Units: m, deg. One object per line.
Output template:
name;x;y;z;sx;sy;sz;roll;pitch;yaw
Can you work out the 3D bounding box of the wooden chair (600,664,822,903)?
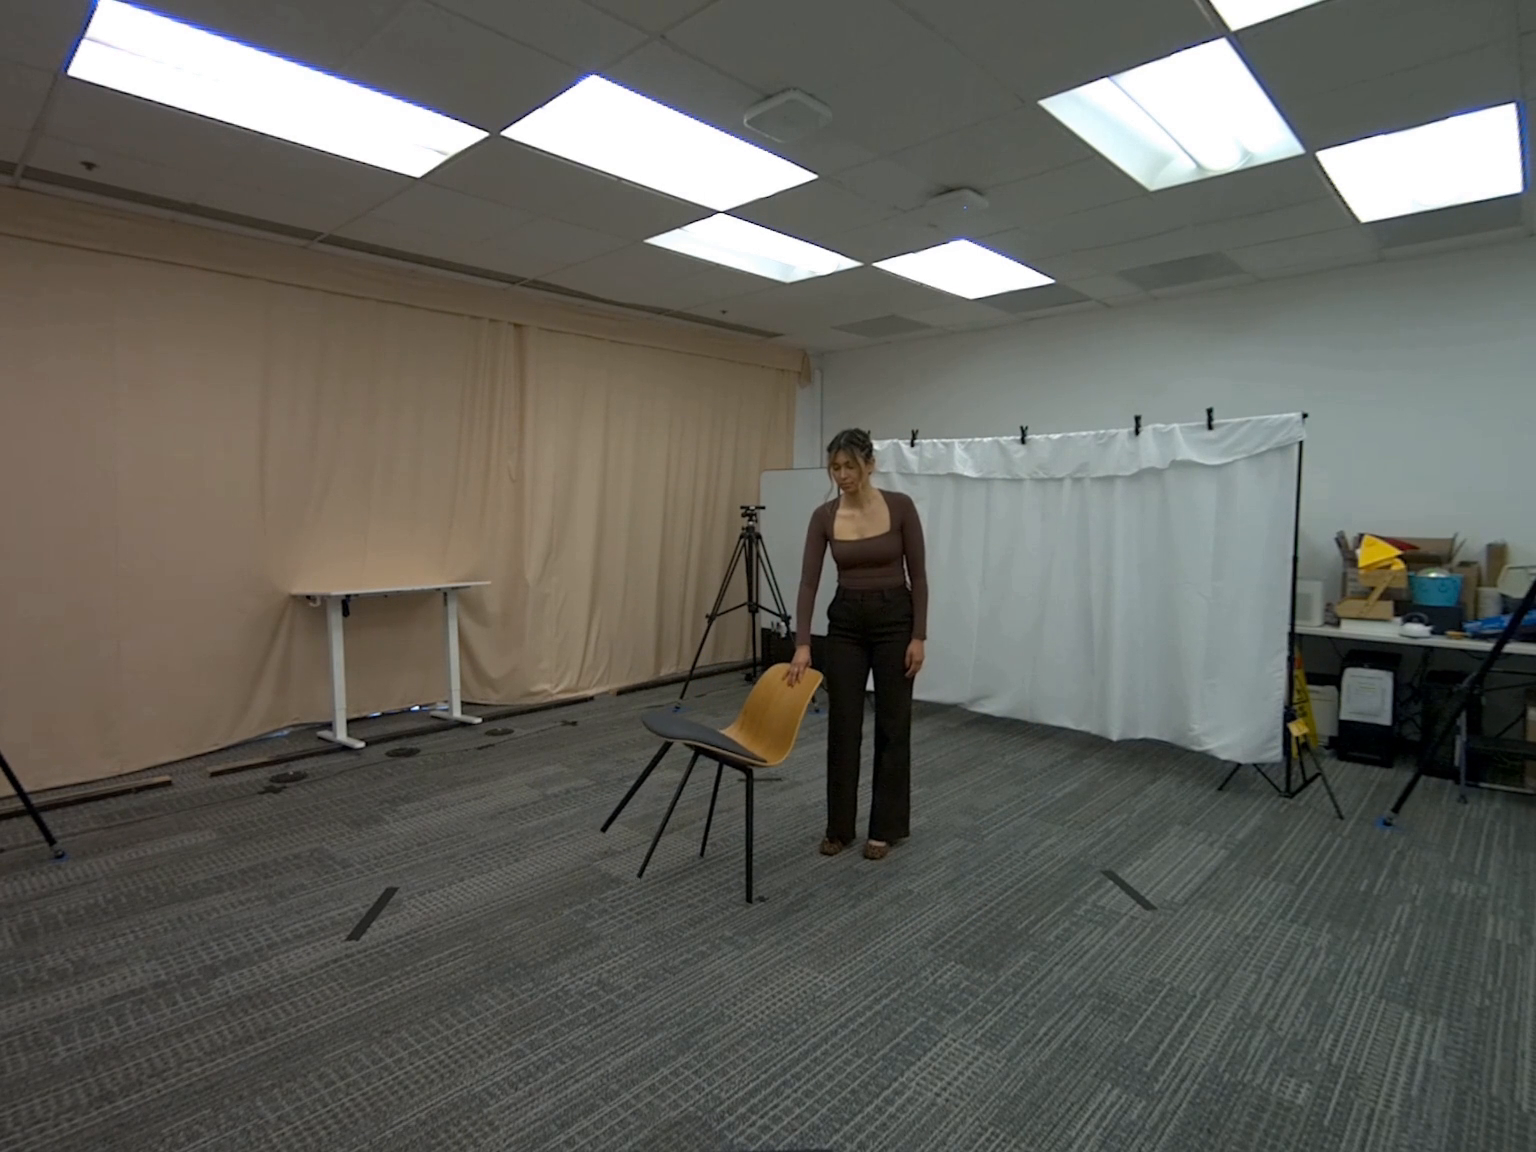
wooden chair;-0.206;0.651;3.094;0.509;0.878;0.491;27;-8;-25
